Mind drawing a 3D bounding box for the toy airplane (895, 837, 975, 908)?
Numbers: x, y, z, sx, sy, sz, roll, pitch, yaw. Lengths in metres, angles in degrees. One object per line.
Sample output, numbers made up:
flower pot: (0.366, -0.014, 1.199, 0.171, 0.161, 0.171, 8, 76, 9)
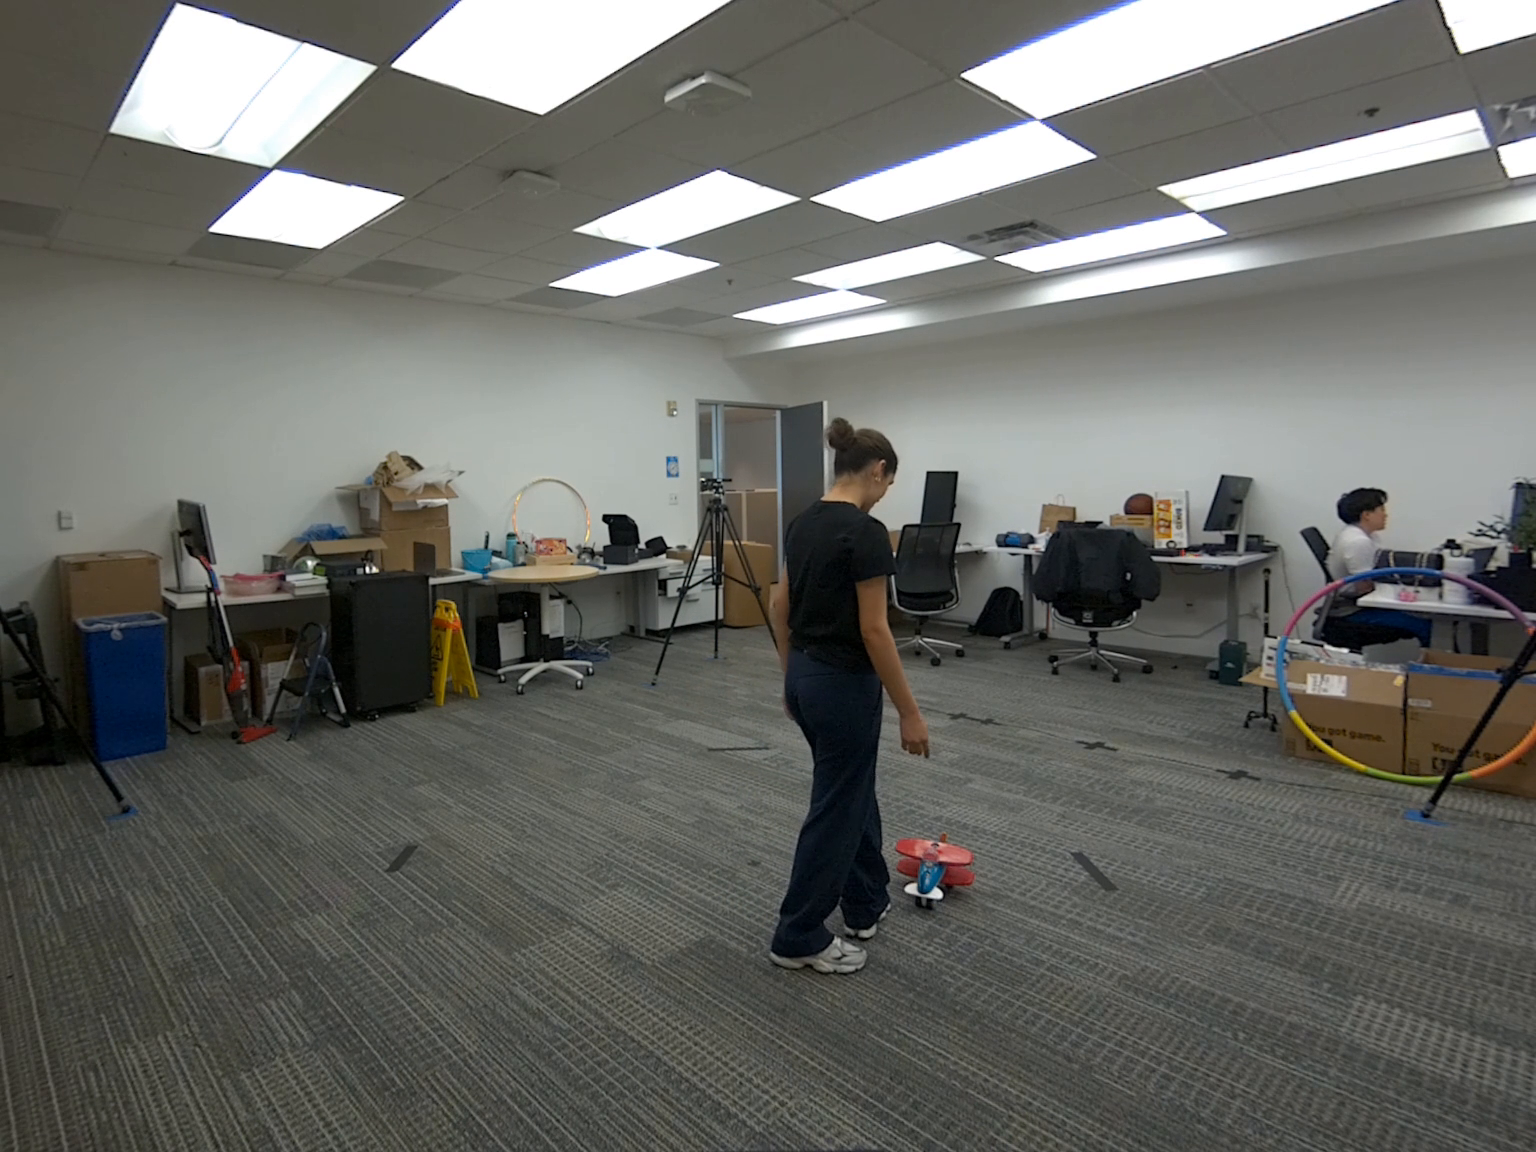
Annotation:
toy airplane: (0.565, 0.987, 2.849, 0.251, 0.156, 0.260, -1, 4, -2)
